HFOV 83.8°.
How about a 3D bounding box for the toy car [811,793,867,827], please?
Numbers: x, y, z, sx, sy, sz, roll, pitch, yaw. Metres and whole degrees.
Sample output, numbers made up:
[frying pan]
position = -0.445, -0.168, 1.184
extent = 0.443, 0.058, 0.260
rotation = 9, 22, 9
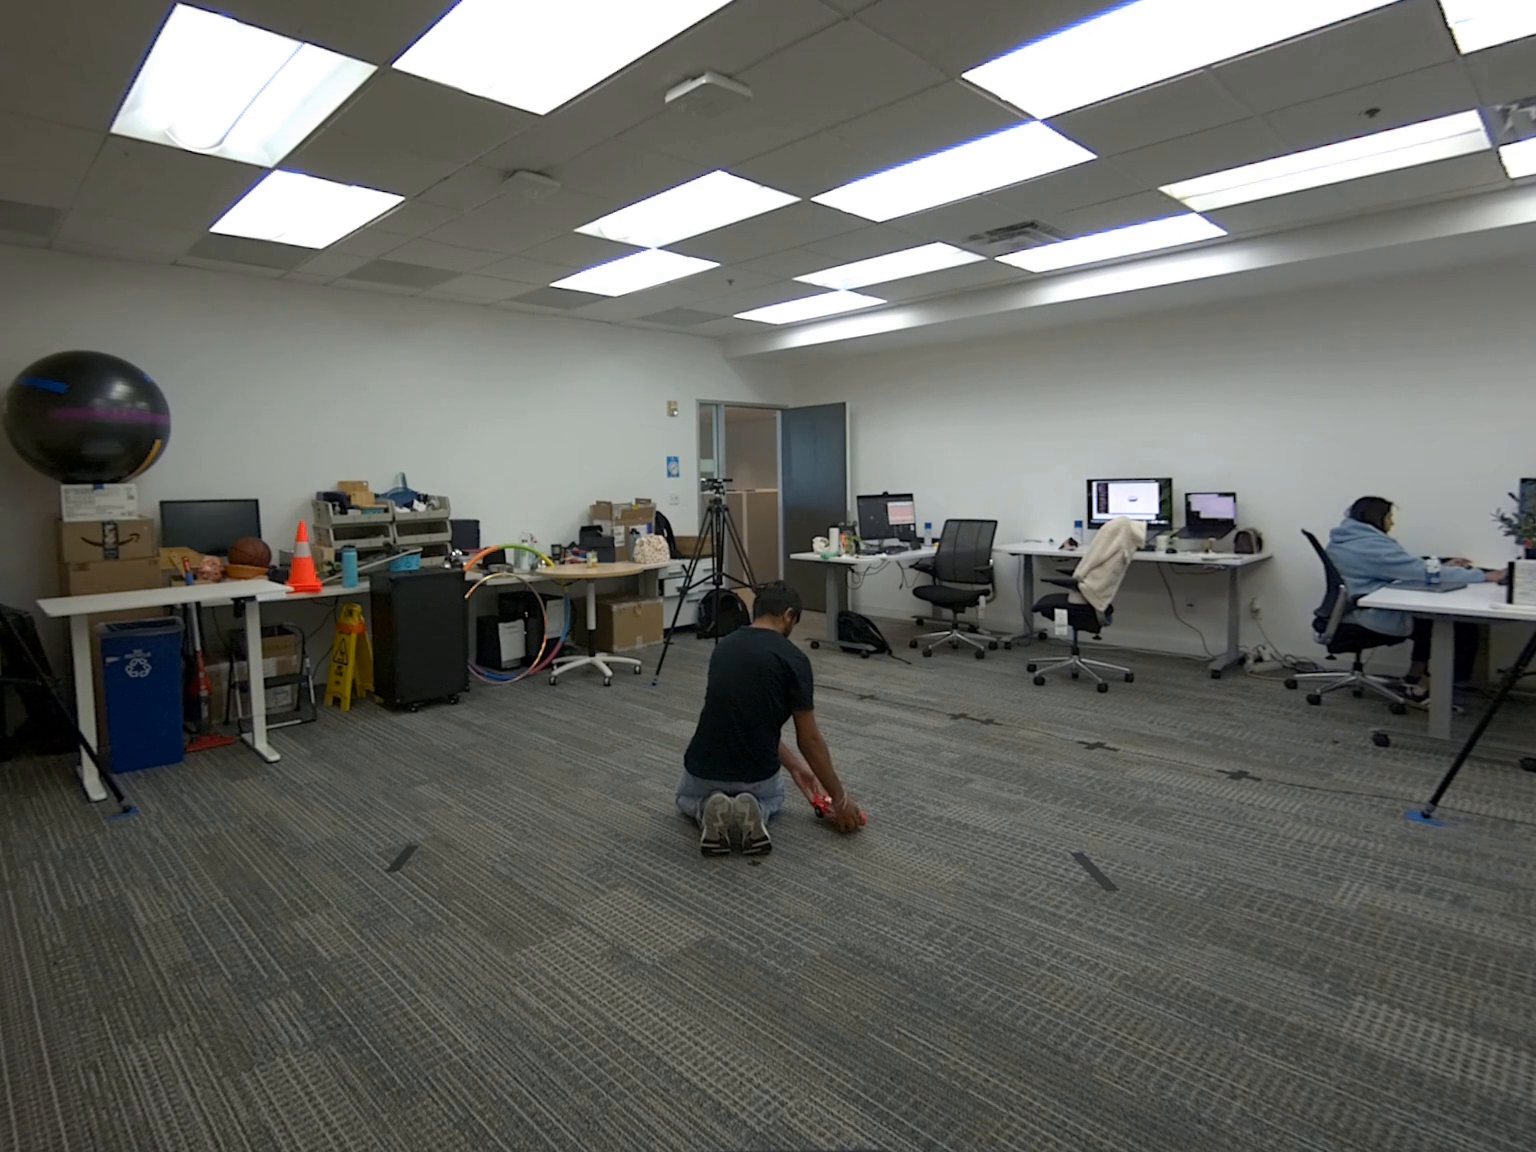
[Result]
[toy car]
position = 0.276, 0.945, 3.449
extent = 0.127, 0.082, 0.264
rotation = -2, 17, -33
